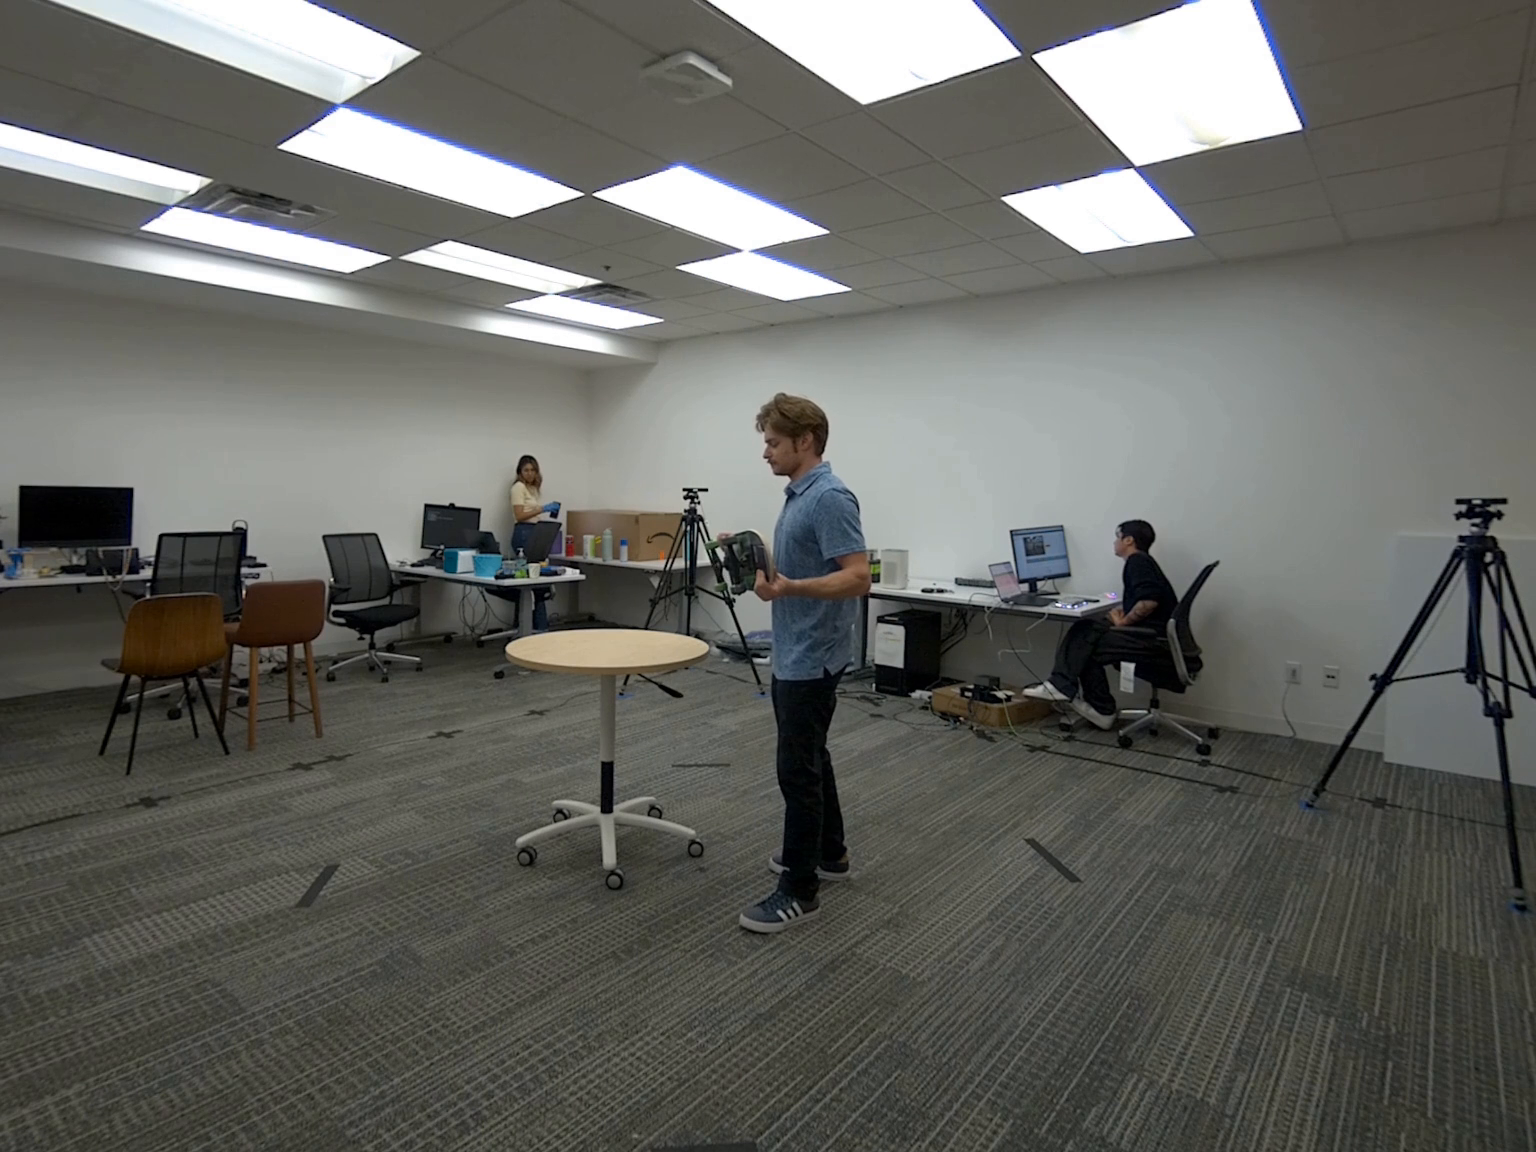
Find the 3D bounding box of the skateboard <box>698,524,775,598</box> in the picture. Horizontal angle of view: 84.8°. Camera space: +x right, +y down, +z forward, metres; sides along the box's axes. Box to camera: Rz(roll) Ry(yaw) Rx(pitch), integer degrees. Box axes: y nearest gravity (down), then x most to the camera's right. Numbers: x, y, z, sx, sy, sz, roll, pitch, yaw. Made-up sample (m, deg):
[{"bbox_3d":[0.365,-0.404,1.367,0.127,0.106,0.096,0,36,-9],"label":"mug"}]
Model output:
[{"bbox_3d":[-0.120,-0.050,2.848,0.109,0.193,0.792,-14,3,-10],"label":"skateboard"}]
